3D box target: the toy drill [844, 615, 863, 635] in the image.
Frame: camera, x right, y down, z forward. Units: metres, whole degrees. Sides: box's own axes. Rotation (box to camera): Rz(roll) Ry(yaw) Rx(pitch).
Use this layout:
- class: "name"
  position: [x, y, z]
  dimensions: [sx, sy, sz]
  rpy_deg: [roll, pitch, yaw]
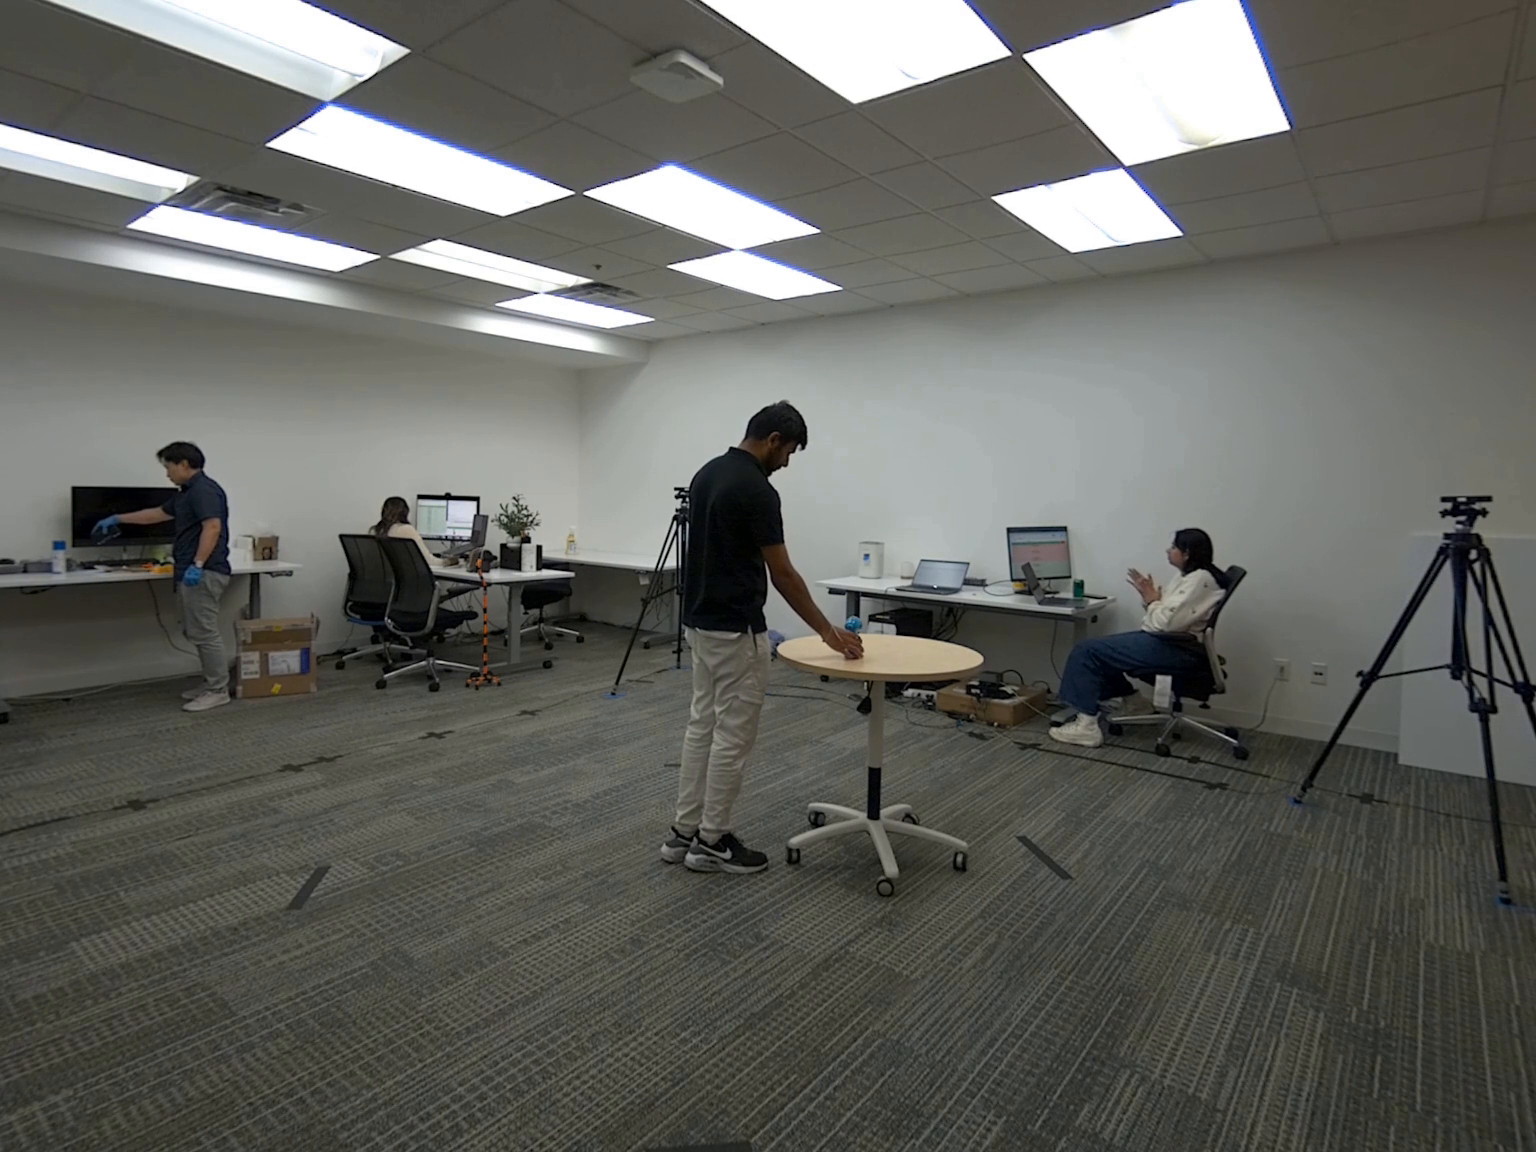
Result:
- class: "toy drill"
  position: [0.312, 0.218, 3.146]
  dimensions: [0.062, 0.145, 0.167]
  rpy_deg: [0, 5, 15]
